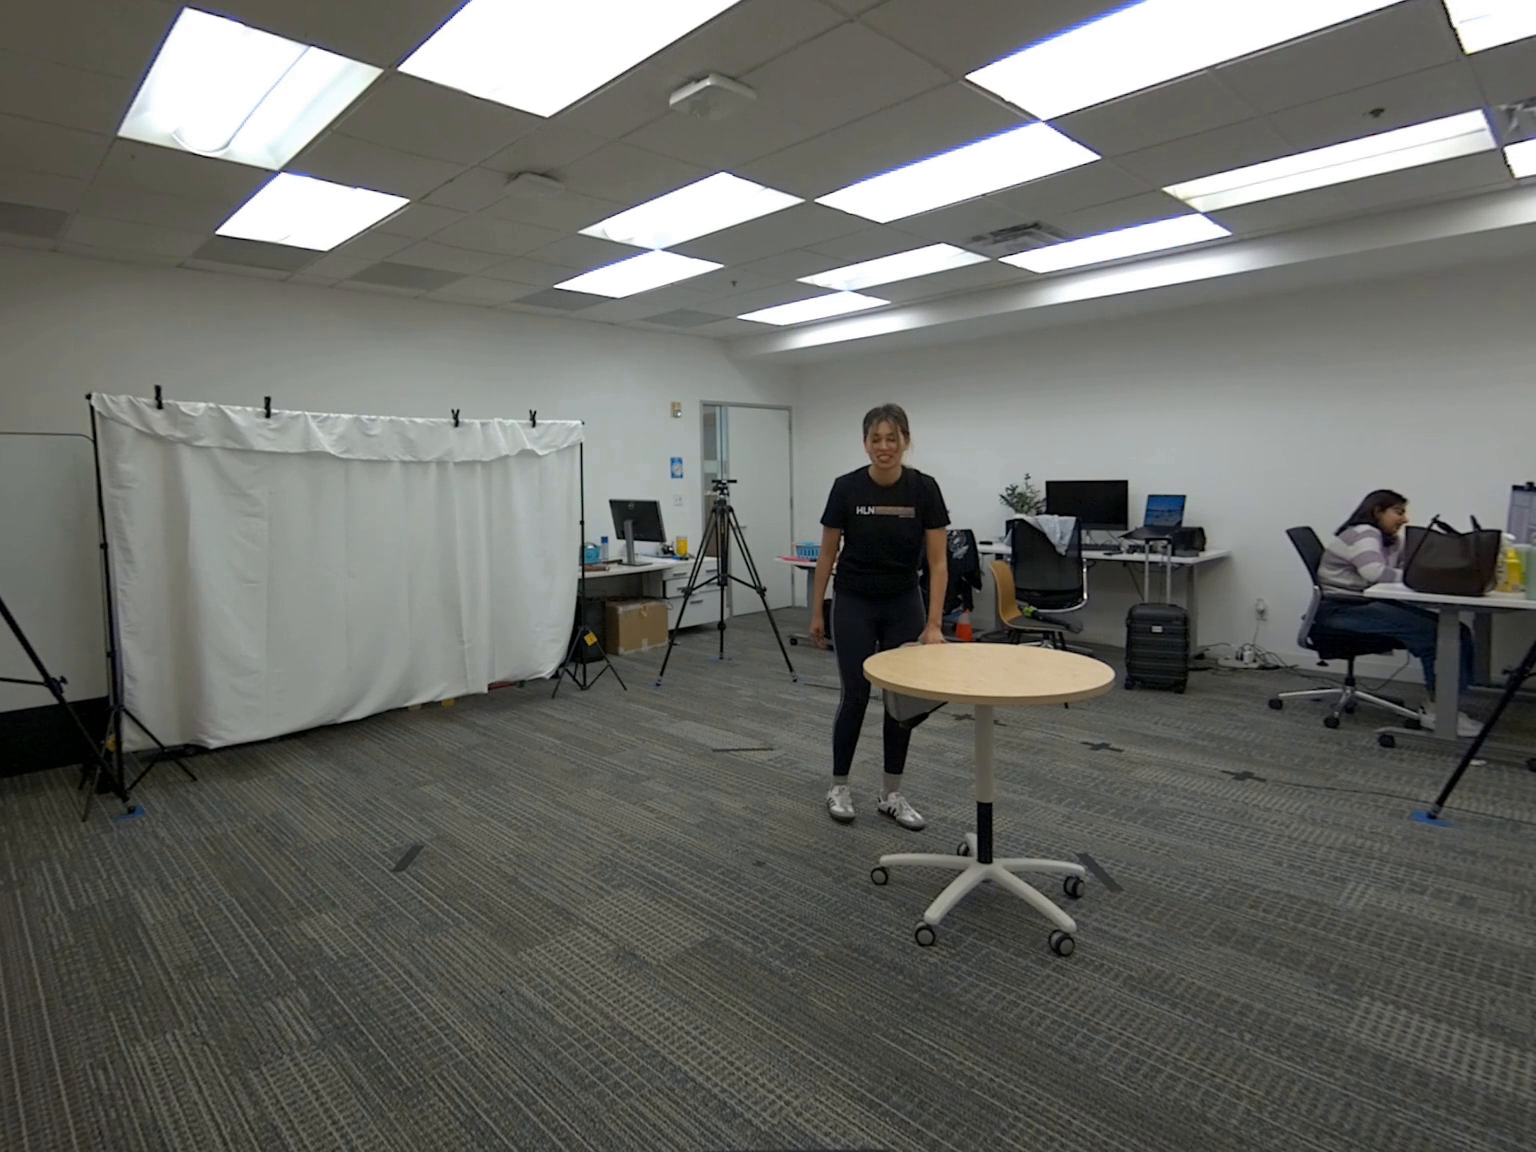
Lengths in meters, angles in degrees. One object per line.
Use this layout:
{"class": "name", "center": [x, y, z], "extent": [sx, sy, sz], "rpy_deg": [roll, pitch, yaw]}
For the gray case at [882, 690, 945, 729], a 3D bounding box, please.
{"class": "gray case", "center": [0.580, 0.410, 3.334], "extent": [0.254, 0.256, 0.107], "rpy_deg": [-19, 19, -15]}
